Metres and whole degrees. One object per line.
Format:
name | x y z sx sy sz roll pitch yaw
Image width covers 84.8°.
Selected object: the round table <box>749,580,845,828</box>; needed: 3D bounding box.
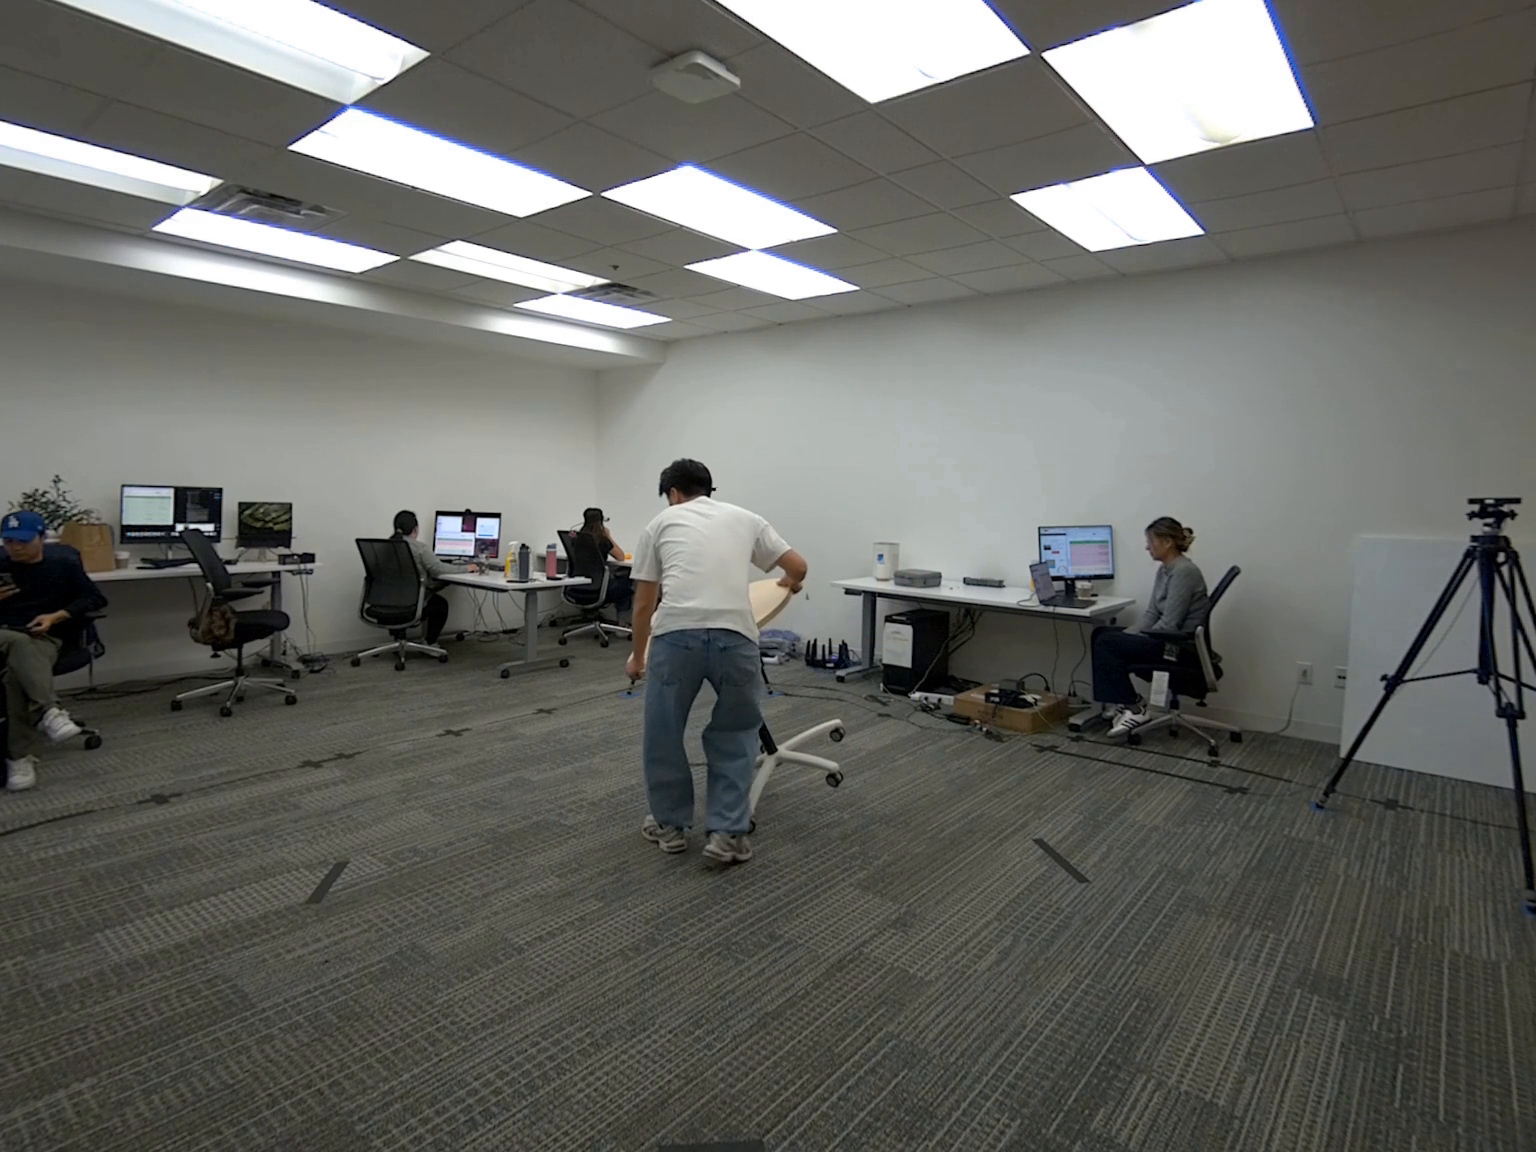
round table | -0.092 0.542 3.661 0.765 0.783 0.773 -25 11 3
